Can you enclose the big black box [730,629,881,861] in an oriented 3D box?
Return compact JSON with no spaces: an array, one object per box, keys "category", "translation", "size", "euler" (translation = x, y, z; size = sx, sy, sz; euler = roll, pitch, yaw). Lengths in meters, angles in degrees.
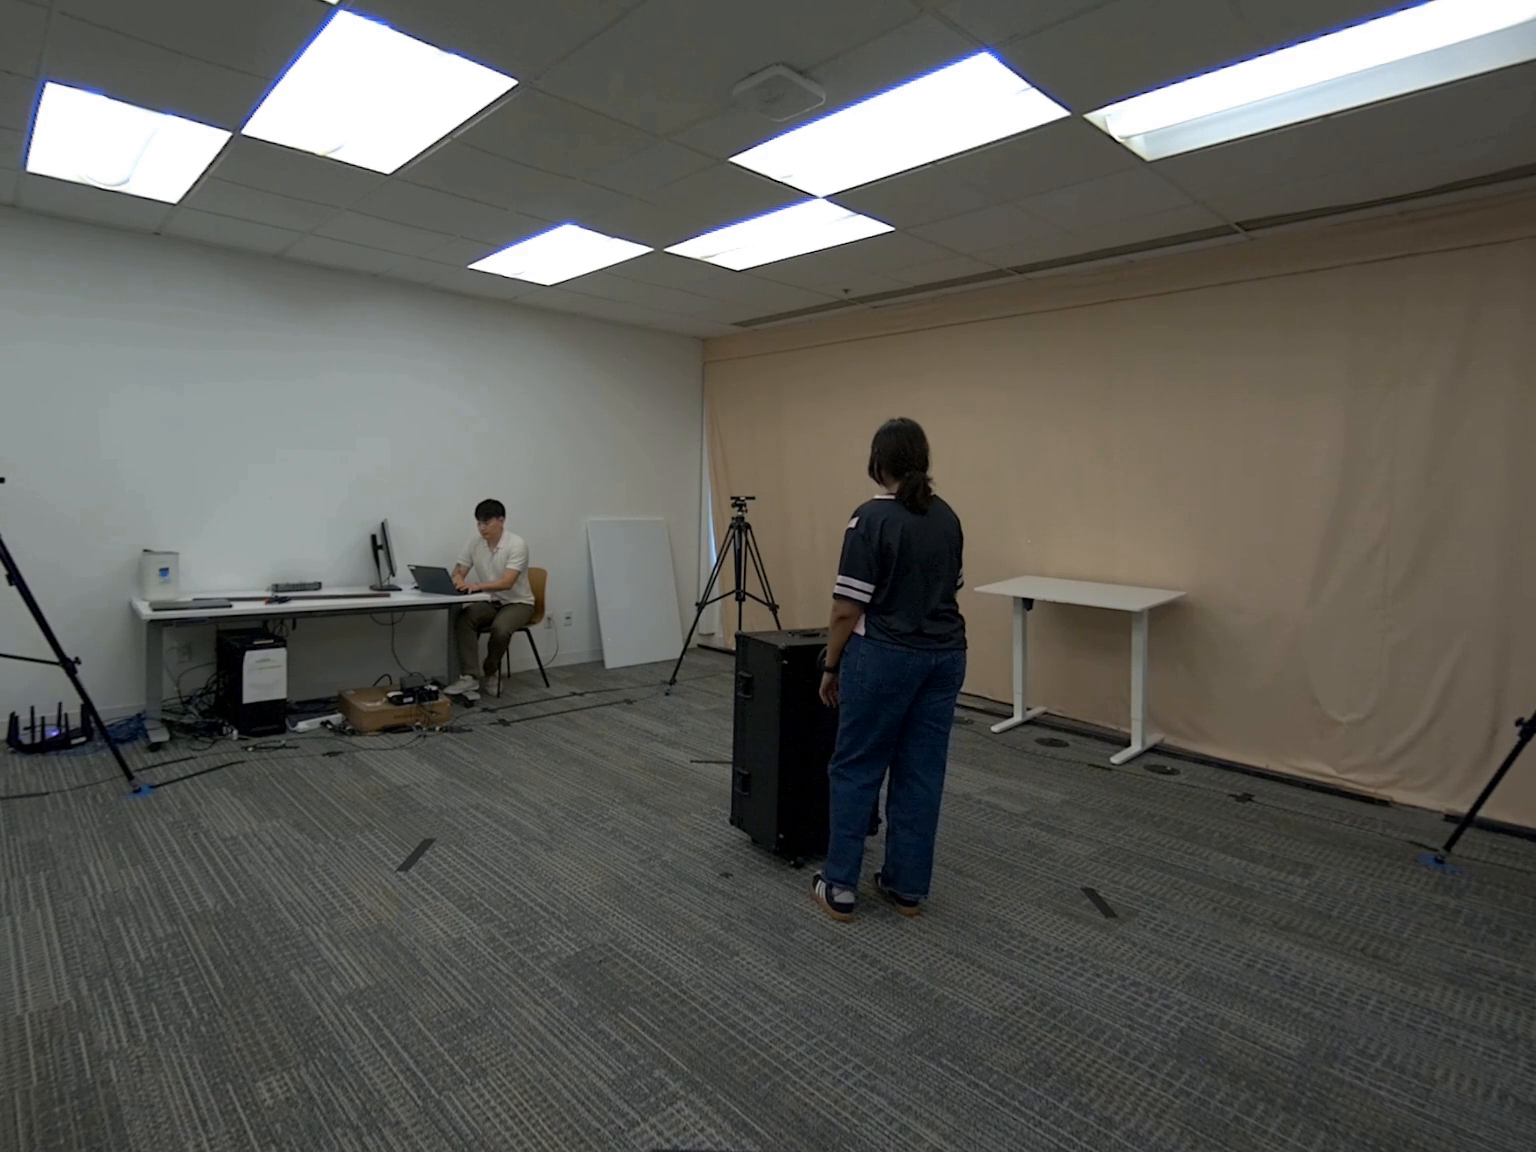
[{"category":"big black box","translation":[0.157,0.669,3.365],"size":[0.513,0.867,0.394],"euler":[0,3,-30]}]
